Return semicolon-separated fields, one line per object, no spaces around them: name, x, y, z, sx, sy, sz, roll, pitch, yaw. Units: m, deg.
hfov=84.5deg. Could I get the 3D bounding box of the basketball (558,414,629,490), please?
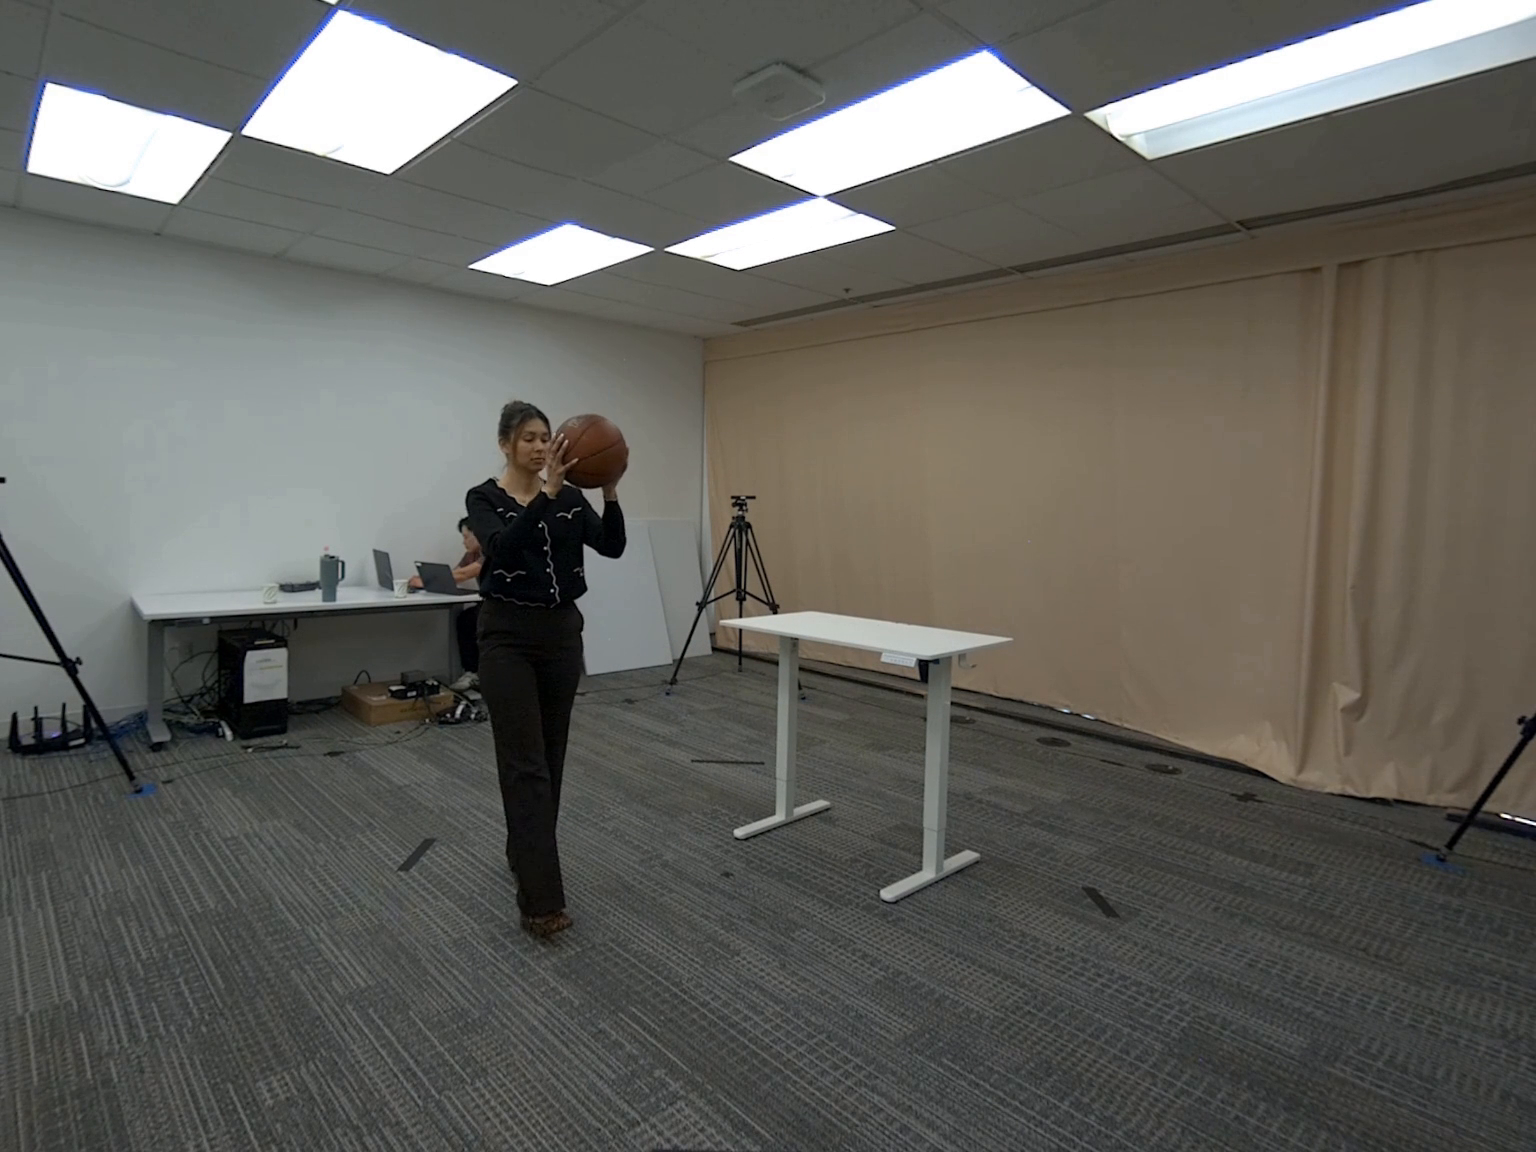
basketball;-0.581;-0.396;2.640;0.236;0.235;0.237;1;4;-1
